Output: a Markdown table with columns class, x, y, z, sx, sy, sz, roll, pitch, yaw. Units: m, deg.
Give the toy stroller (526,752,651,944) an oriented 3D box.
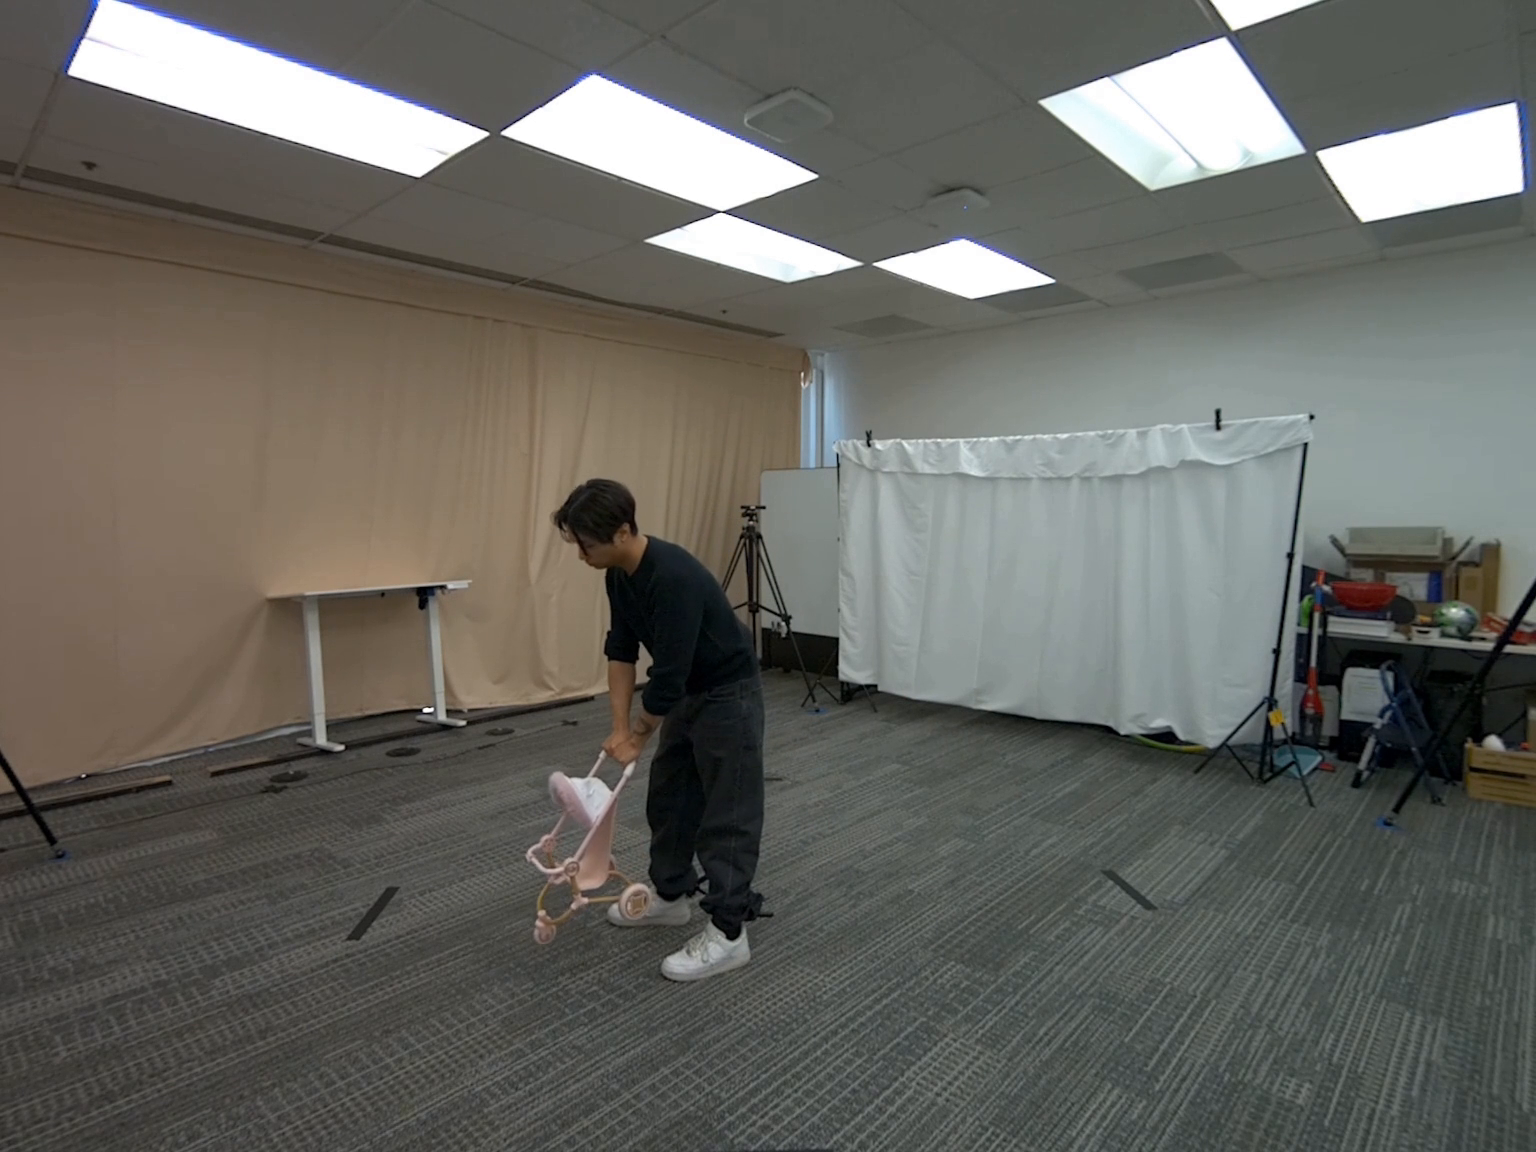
| class | x | y | z | sx | sy | sz | roll | pitch | yaw |
| --- | --- | --- | --- | --- | --- | --- | --- | --- | --- |
| toy stroller | -0.562 | 0.819 | 2.535 | 0.333 | 0.533 | 0.290 | -5 | 6 | -29 |
